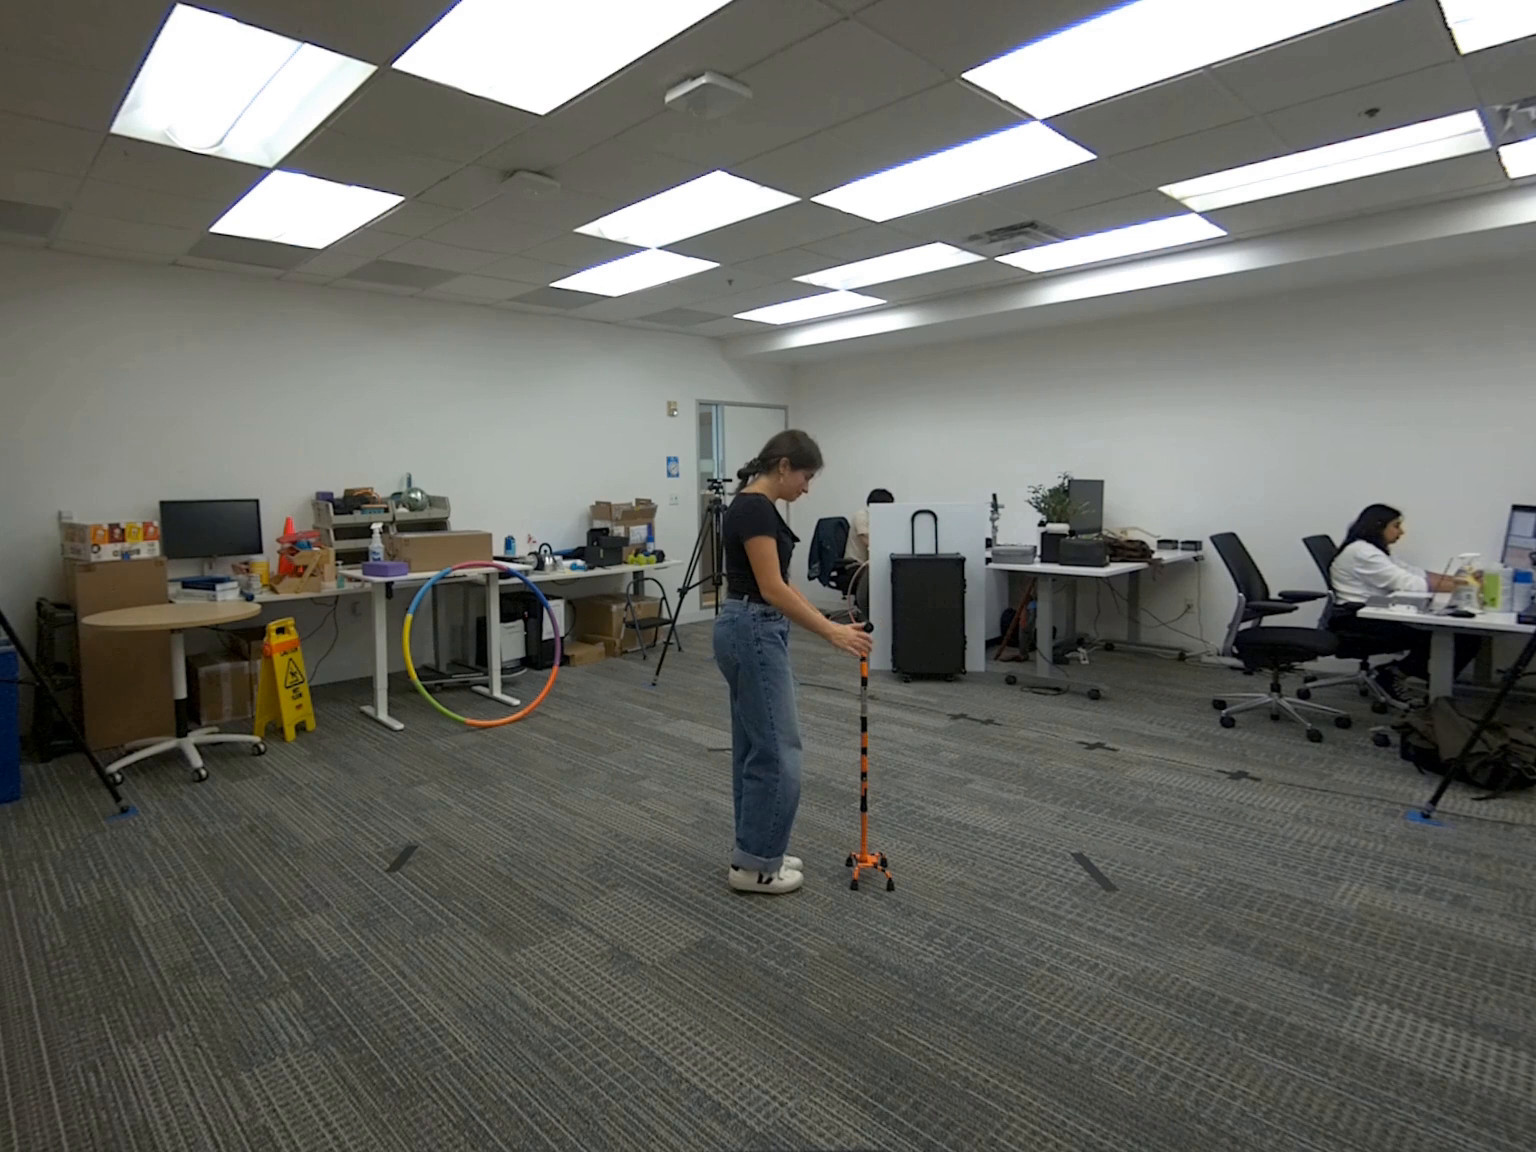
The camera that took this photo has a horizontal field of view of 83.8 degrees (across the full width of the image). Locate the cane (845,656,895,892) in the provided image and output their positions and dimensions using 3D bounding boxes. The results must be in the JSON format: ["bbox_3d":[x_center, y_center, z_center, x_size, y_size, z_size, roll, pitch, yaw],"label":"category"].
[{"bbox_3d":[0.343,0.599,2.959,0.152,0.905,0.207,-1,3,0],"label":"cane"}]
